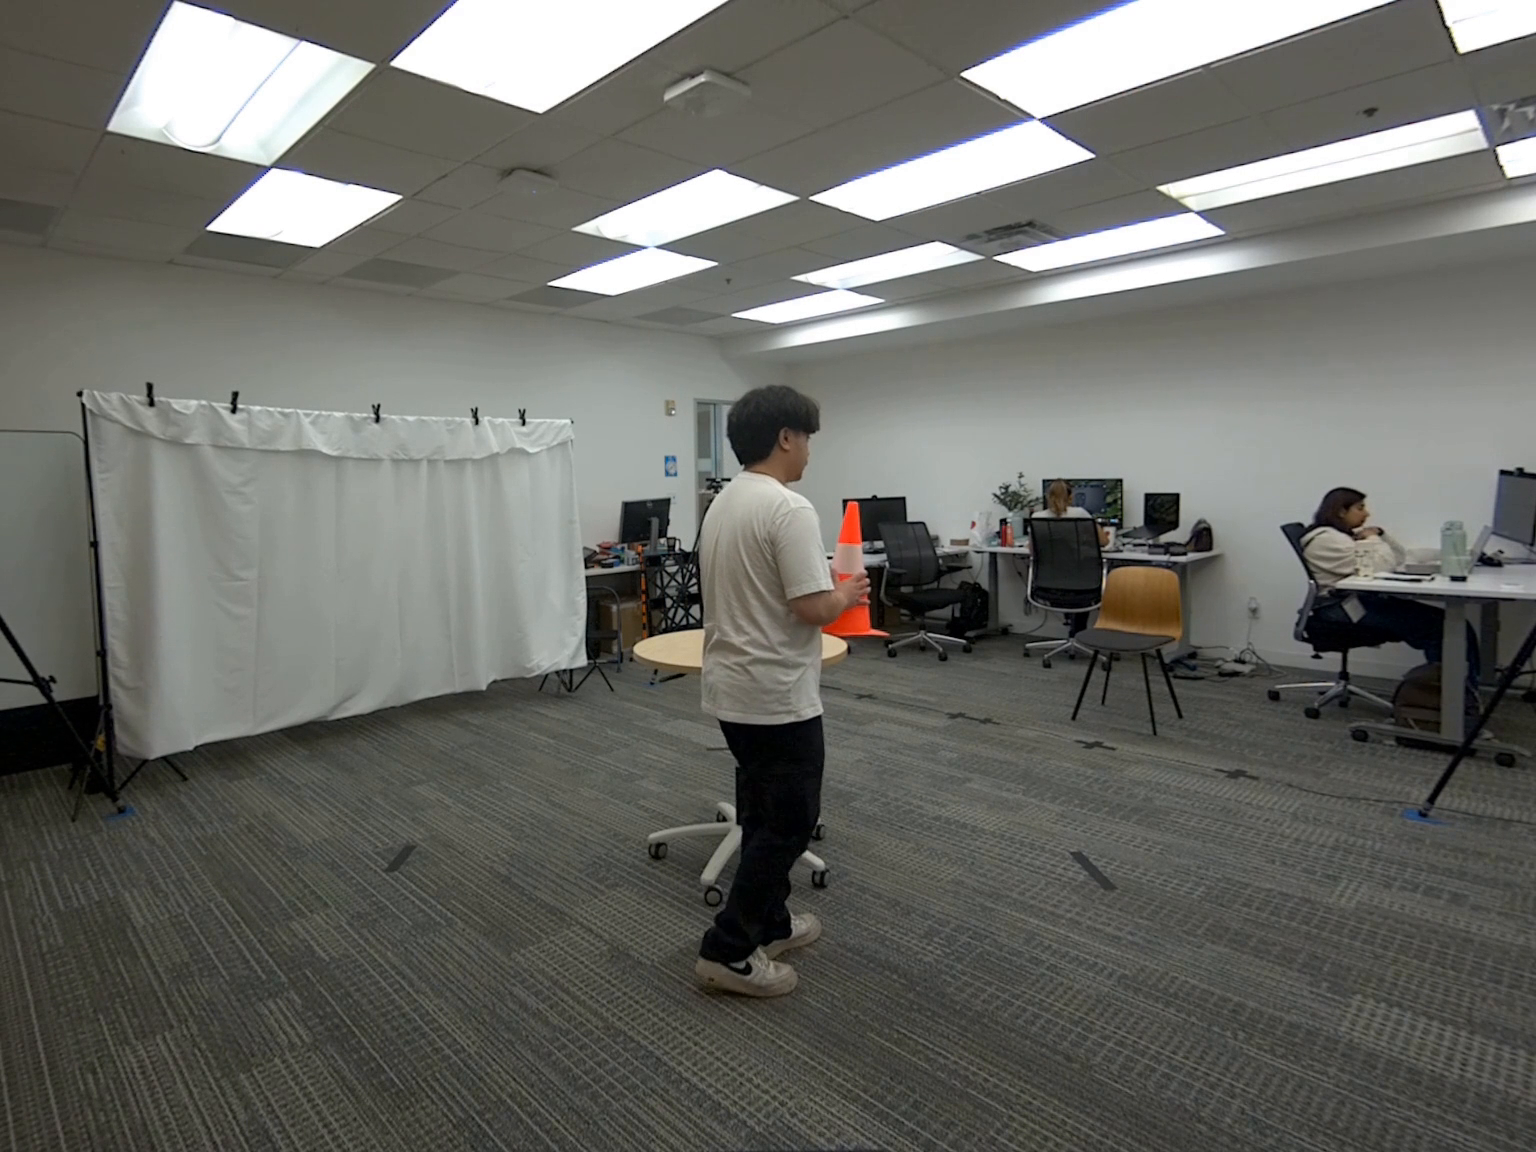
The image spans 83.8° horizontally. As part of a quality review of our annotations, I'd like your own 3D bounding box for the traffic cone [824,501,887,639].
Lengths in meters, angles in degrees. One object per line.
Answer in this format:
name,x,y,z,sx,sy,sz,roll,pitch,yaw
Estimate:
traffic cone,0.240,-0.030,2.547,0.211,0.383,0.197,5,1,42
